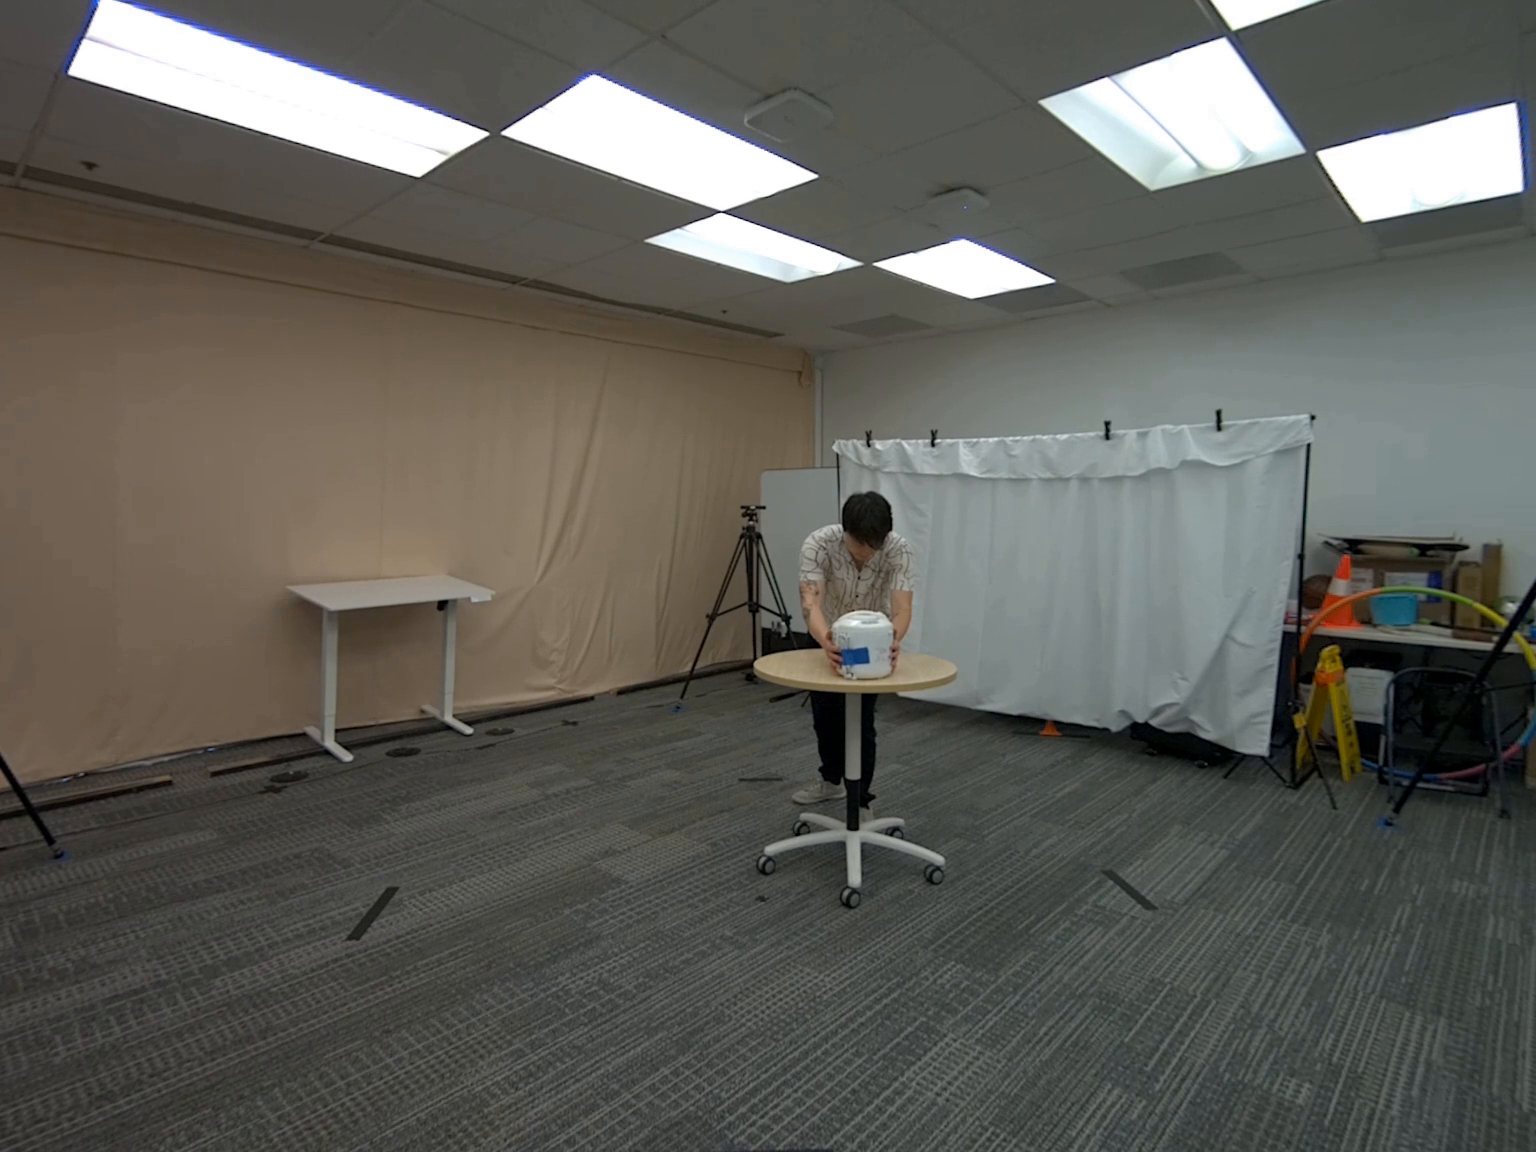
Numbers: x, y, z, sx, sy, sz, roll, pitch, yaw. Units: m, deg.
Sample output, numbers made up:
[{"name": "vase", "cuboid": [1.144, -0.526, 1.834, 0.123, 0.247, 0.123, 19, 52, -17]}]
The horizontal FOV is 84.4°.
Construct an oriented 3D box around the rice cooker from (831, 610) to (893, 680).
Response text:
[{"name": "rice cooker", "cuboid": [0.340, 0.239, 3.020, 0.219, 0.232, 0.219, 0, 5, -5]}]
